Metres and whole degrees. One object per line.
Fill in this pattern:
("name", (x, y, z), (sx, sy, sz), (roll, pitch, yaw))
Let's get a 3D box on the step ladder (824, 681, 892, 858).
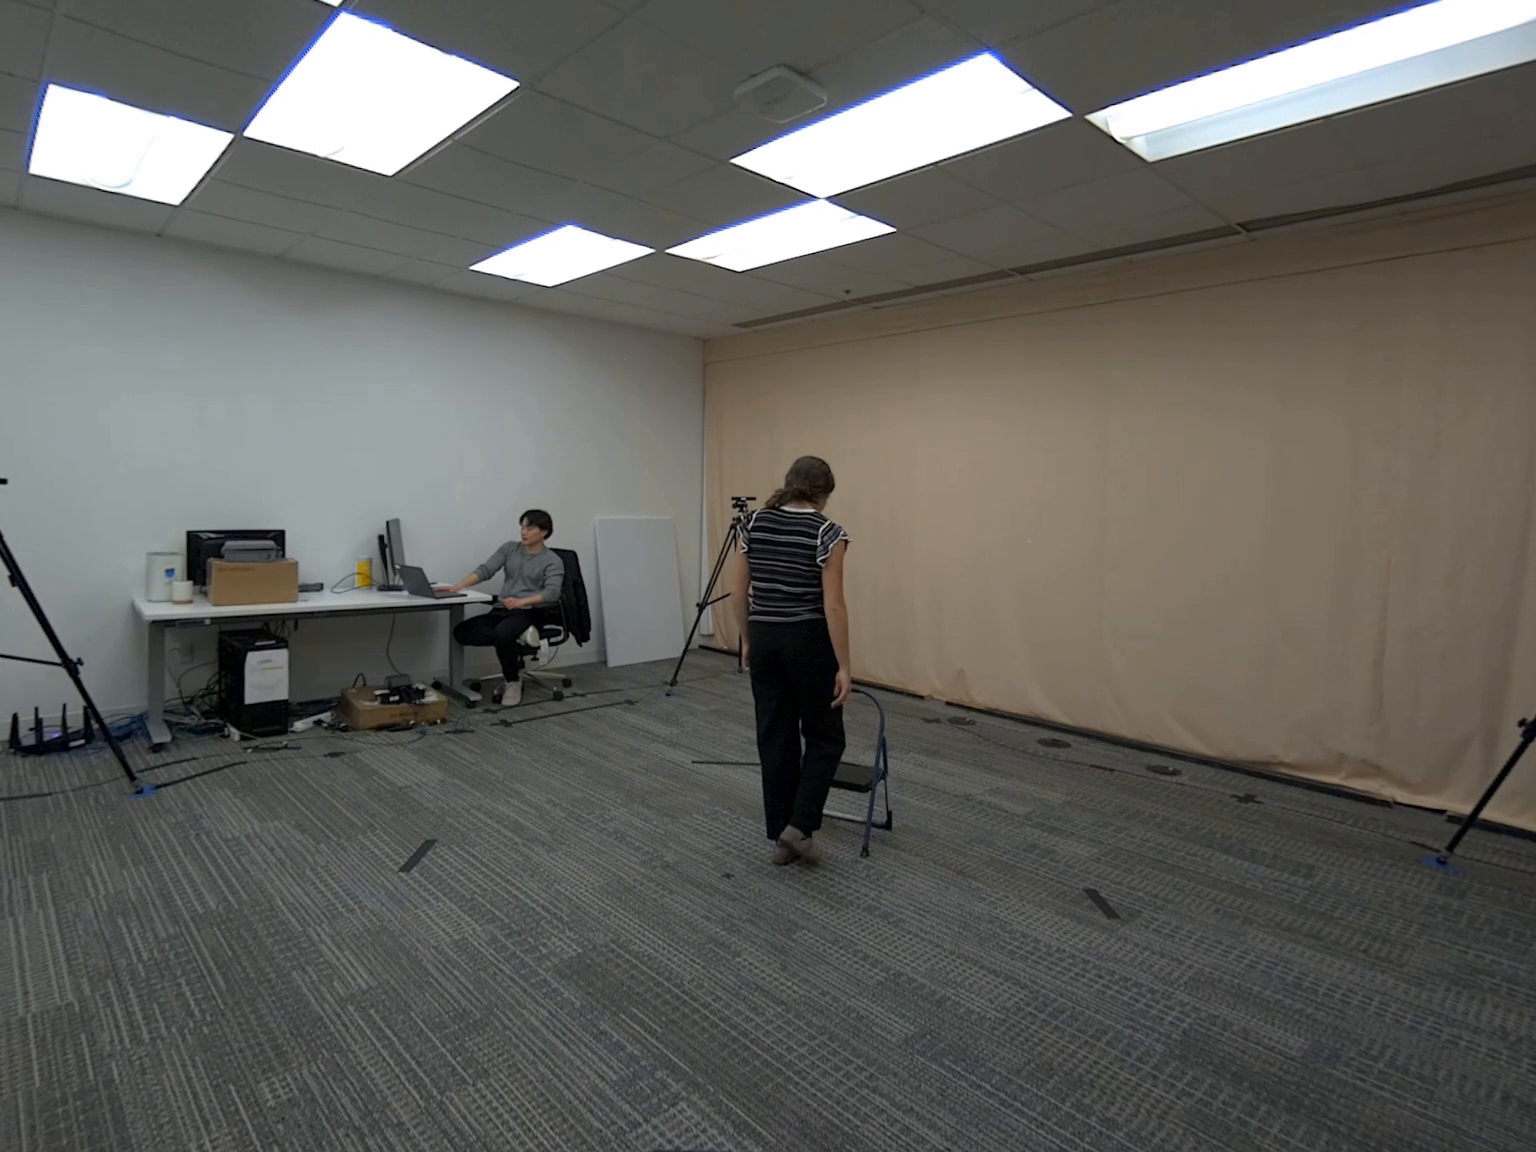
("step ladder", (0.277, 0.779, 3.537), (0.439, 0.605, 0.343), (3, 3, 28))
